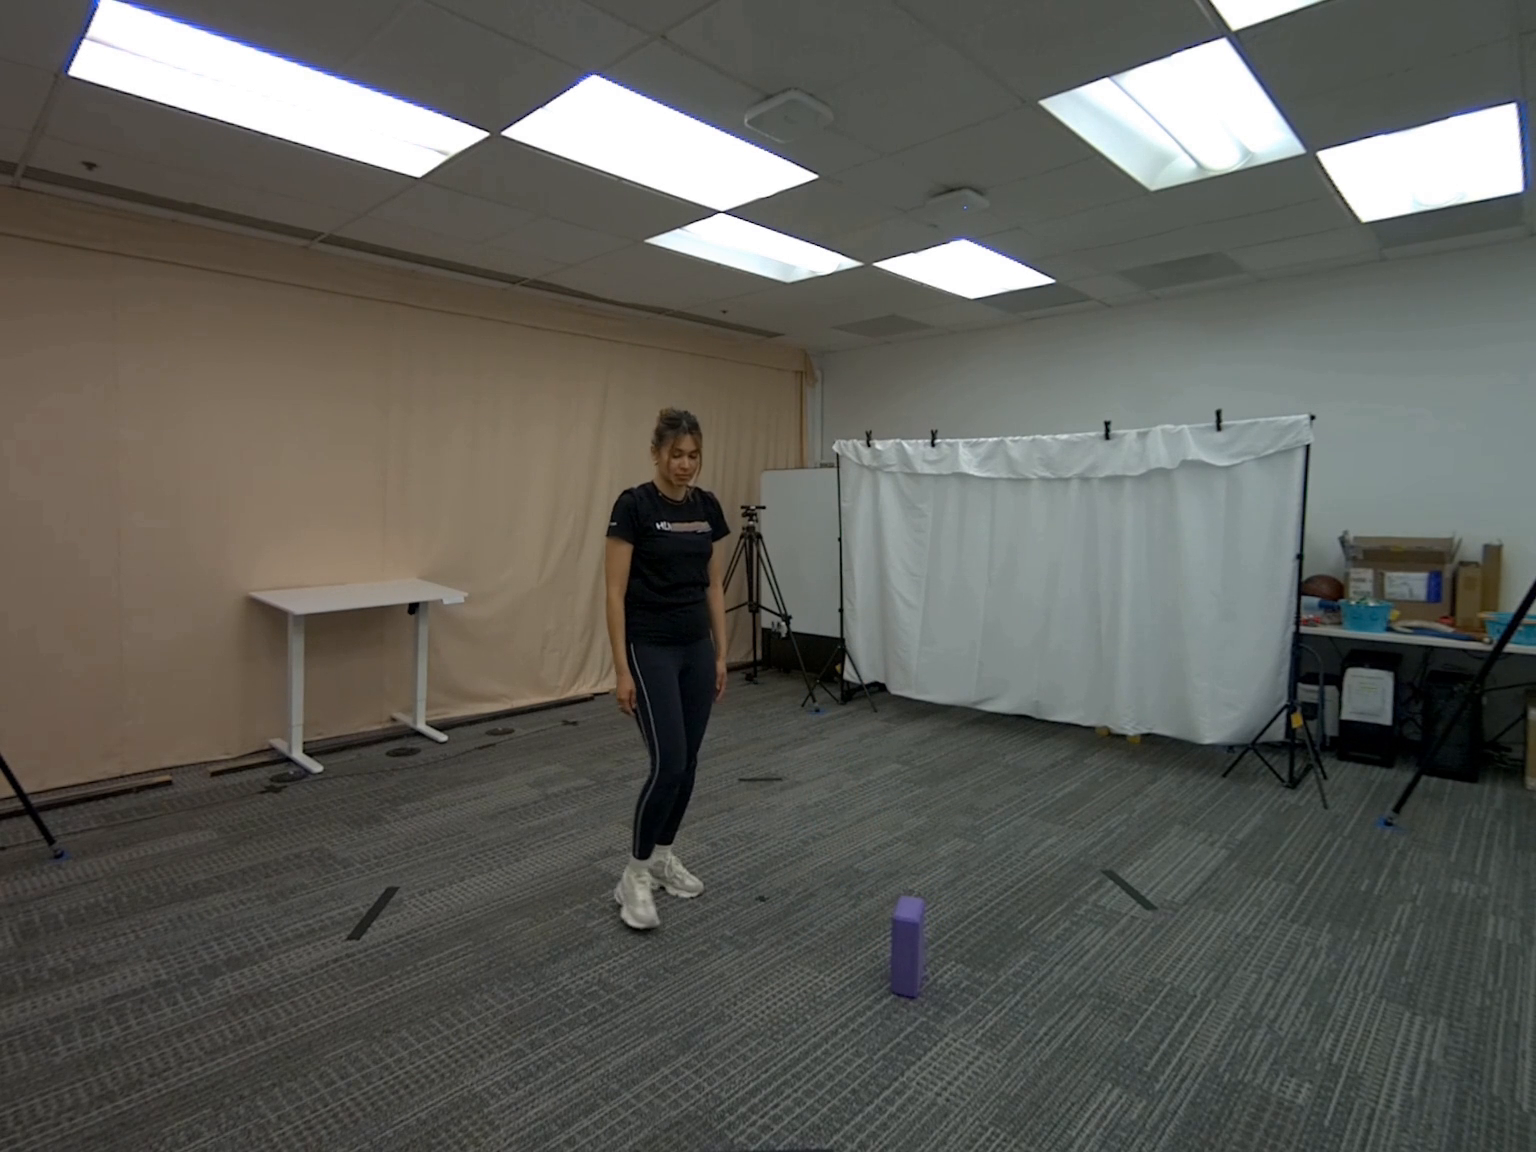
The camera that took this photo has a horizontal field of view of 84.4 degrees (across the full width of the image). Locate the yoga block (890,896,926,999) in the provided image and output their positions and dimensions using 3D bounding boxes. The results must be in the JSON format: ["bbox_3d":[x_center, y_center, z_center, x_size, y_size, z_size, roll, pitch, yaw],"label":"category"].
[{"bbox_3d":[0.413,1.075,2.436,0.078,0.229,0.146,2,4,19],"label":"yoga block"}]
